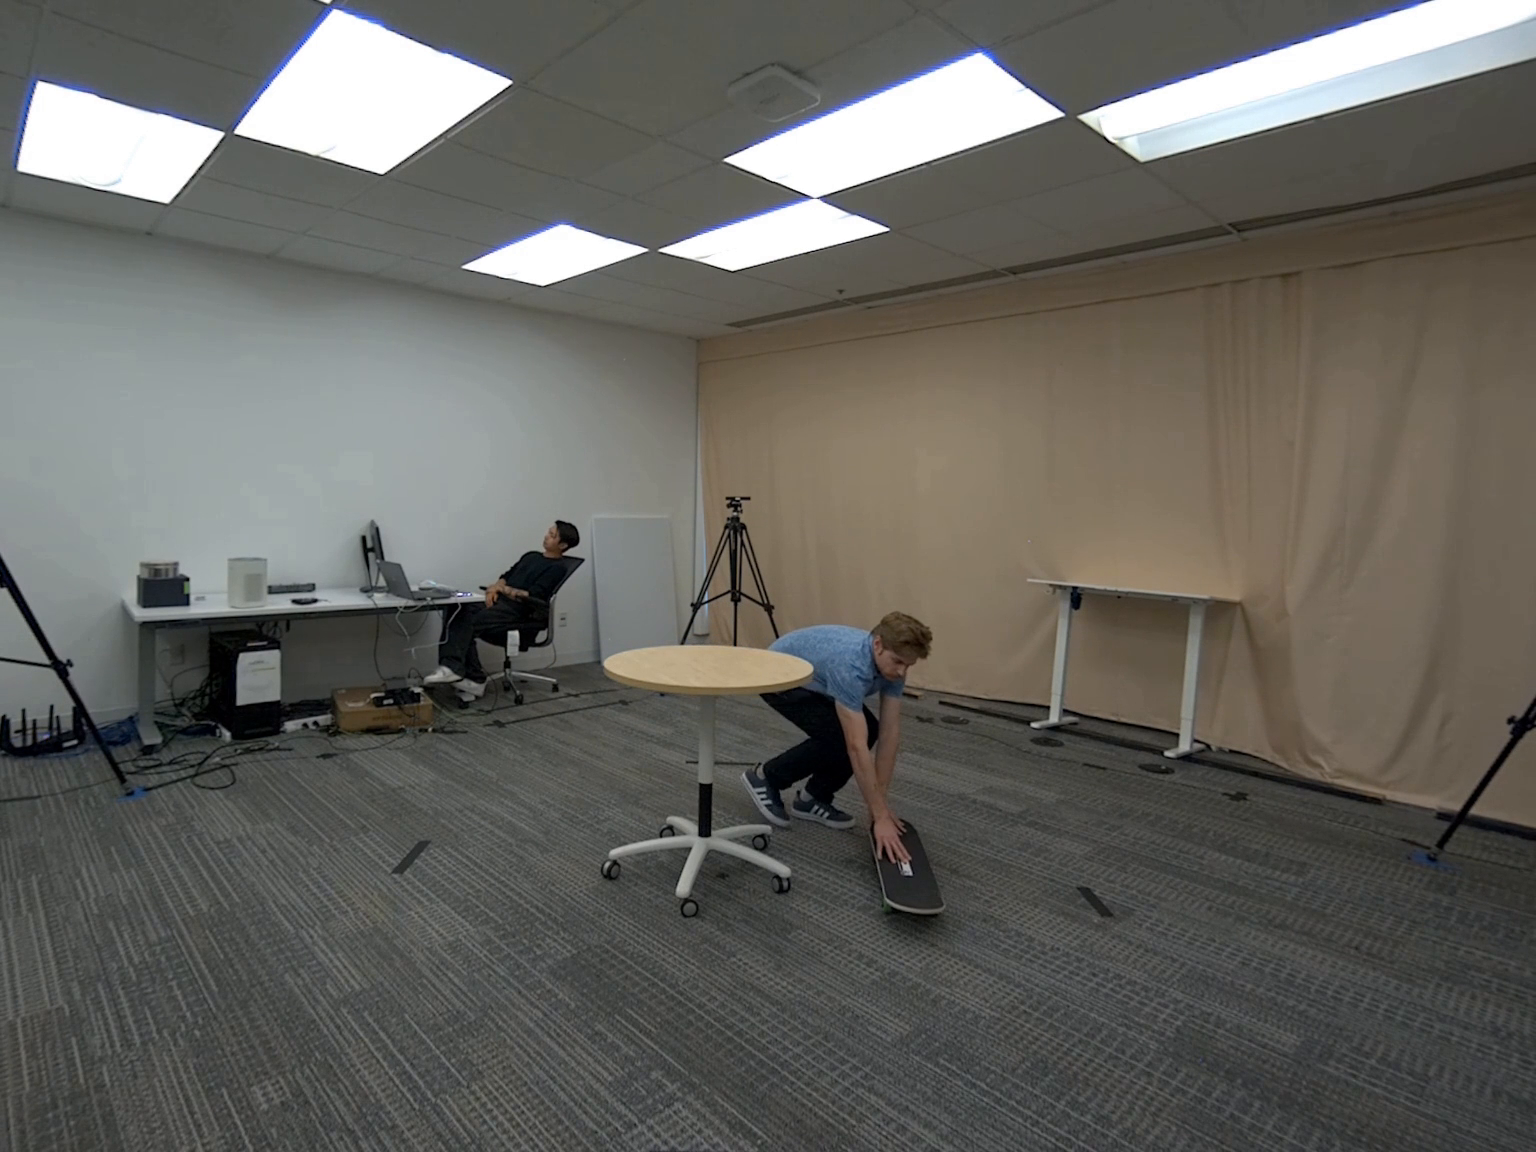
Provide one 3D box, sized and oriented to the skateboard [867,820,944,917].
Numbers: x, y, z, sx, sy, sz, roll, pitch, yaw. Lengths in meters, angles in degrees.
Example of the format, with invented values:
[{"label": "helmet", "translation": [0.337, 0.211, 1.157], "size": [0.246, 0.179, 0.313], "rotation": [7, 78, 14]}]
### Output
[{"label": "skateboard", "translation": [0.480, 1.073, 3.044], "size": [0.194, 0.110, 0.786], "rotation": [2, 5, 1]}]
